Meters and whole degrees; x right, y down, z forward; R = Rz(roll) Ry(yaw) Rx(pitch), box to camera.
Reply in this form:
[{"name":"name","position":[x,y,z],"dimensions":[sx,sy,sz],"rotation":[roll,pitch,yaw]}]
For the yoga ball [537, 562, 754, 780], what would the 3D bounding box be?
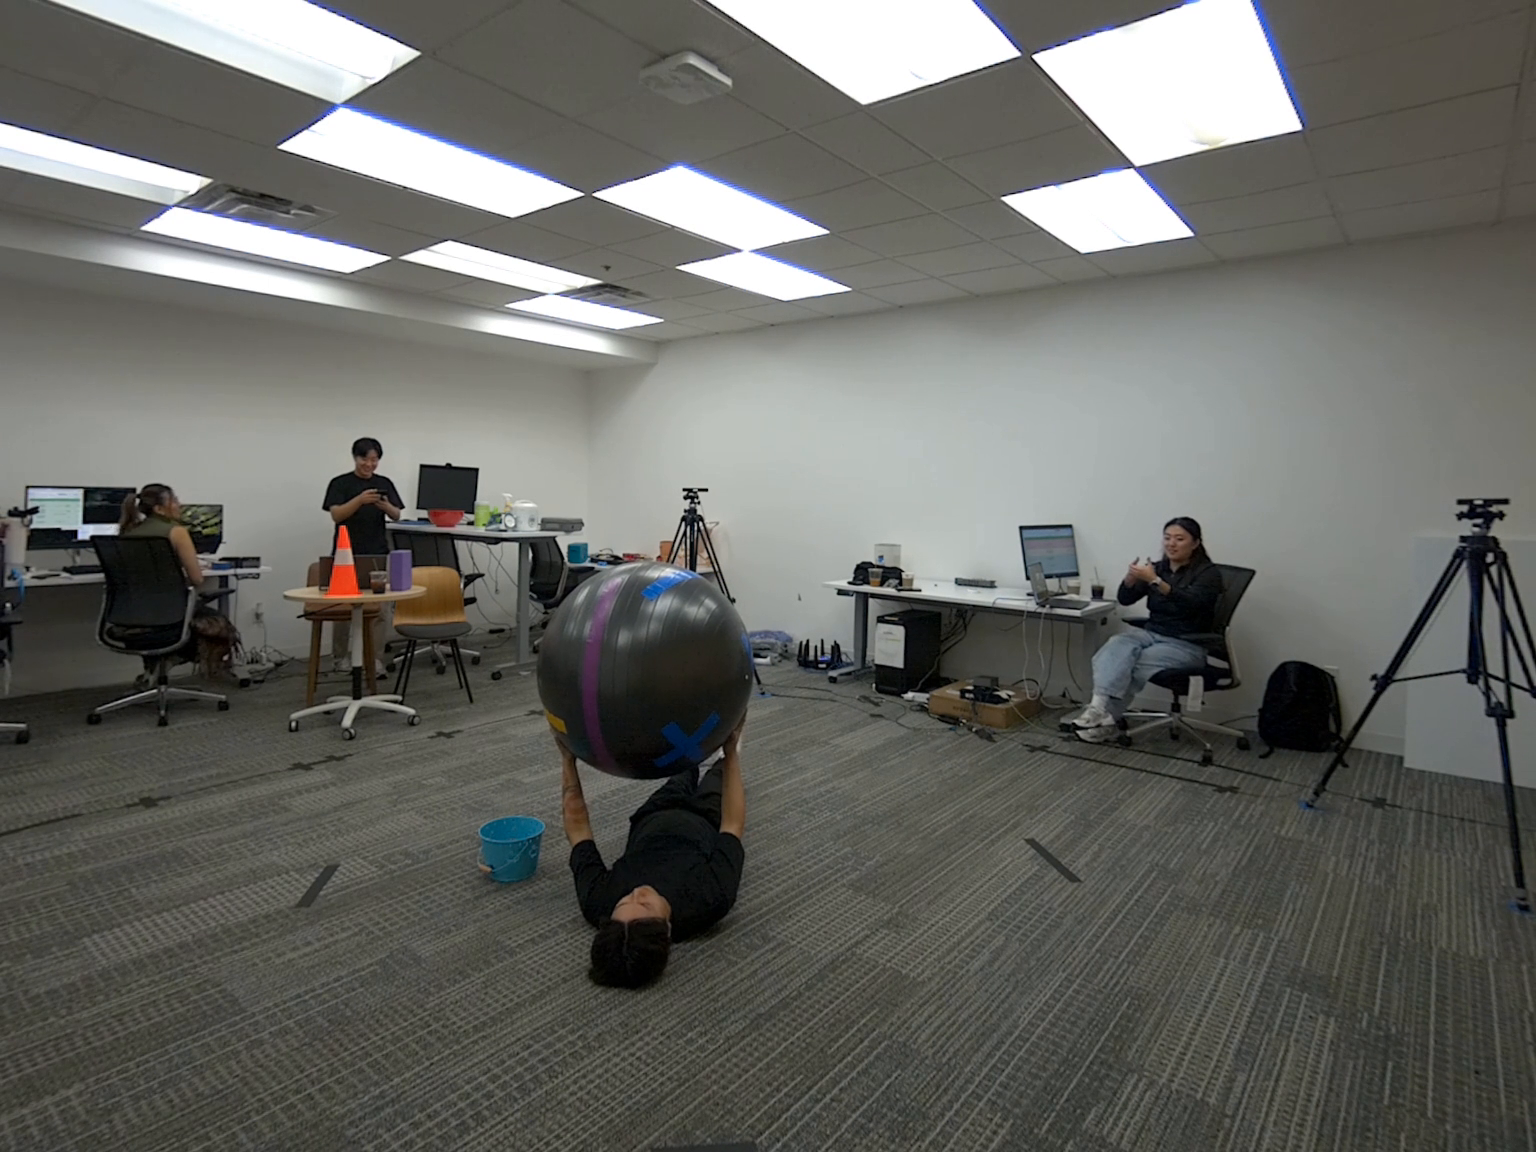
[{"name":"yoga ball","position":[-0.439,0.333,3.002],"dimensions":[0.757,0.755,0.762],"rotation":[1,4,-2]}]
